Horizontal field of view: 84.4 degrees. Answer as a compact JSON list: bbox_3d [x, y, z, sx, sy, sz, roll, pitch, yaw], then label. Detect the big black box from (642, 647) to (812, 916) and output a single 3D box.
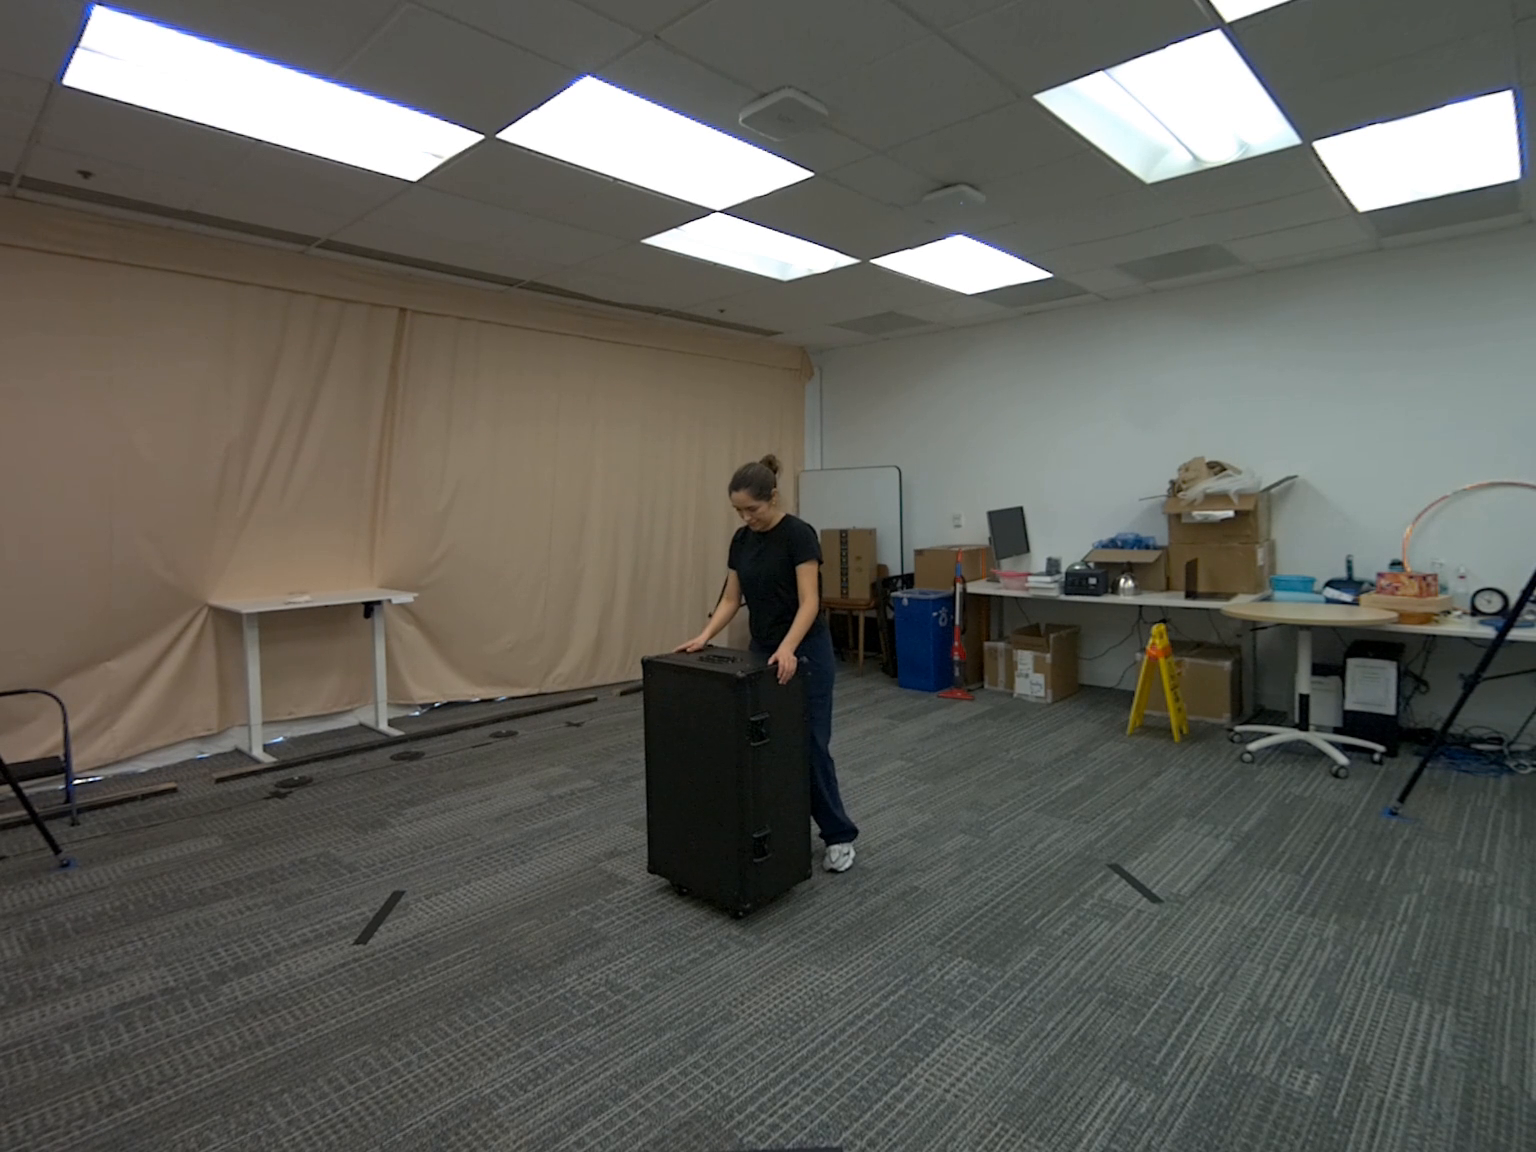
[{"bbox_3d":[-0.127,0.662,2.998,0.538,0.859,0.384,1,4,42],"label":"big black box"}]
